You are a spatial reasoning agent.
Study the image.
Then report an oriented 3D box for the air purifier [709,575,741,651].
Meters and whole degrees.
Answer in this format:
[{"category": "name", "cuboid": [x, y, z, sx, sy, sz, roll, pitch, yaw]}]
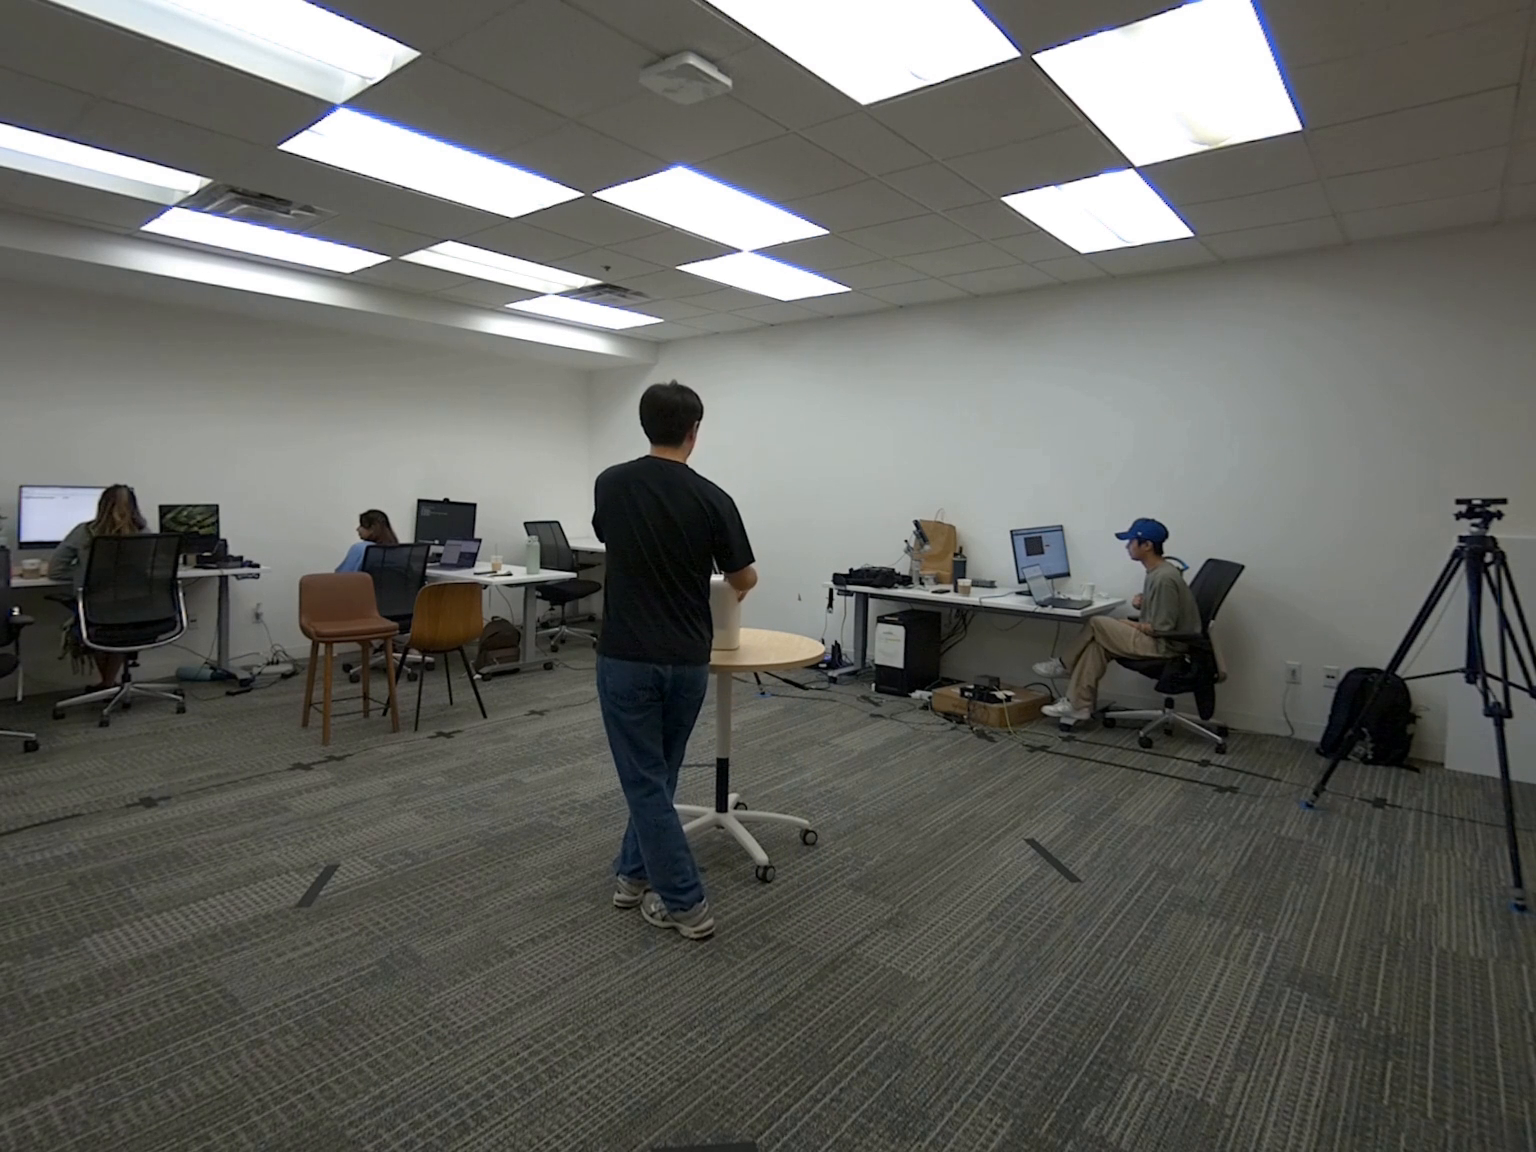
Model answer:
[{"category": "air purifier", "cuboid": [-0.199, 0.127, 3.218, 0.172, 0.264, 0.171, 1, 6, 4]}]
